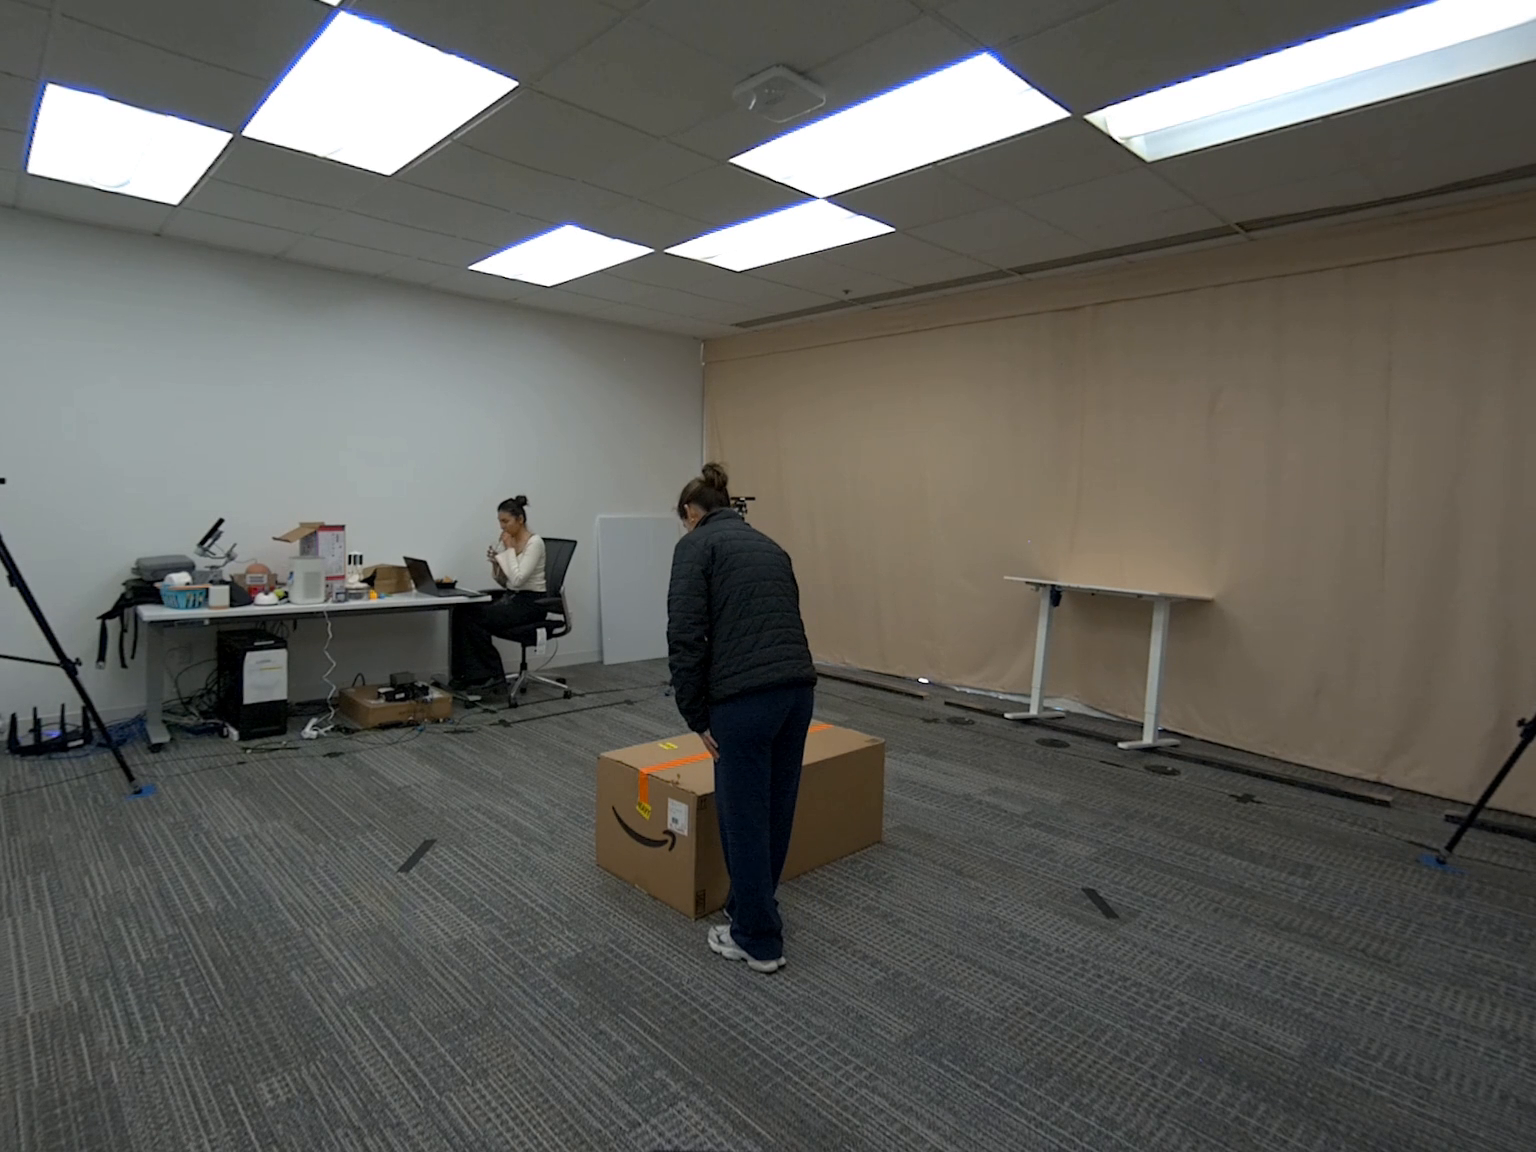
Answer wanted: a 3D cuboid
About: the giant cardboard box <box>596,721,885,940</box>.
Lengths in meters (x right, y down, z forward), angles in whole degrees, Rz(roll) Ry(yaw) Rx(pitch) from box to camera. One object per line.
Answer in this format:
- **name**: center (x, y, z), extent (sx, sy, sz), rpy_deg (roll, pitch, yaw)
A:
- **giant cardboard box**: center (-0.092, 0.882, 3.295), extent (1.003, 0.445, 0.599), rpy_deg (-2, 7, -45)
